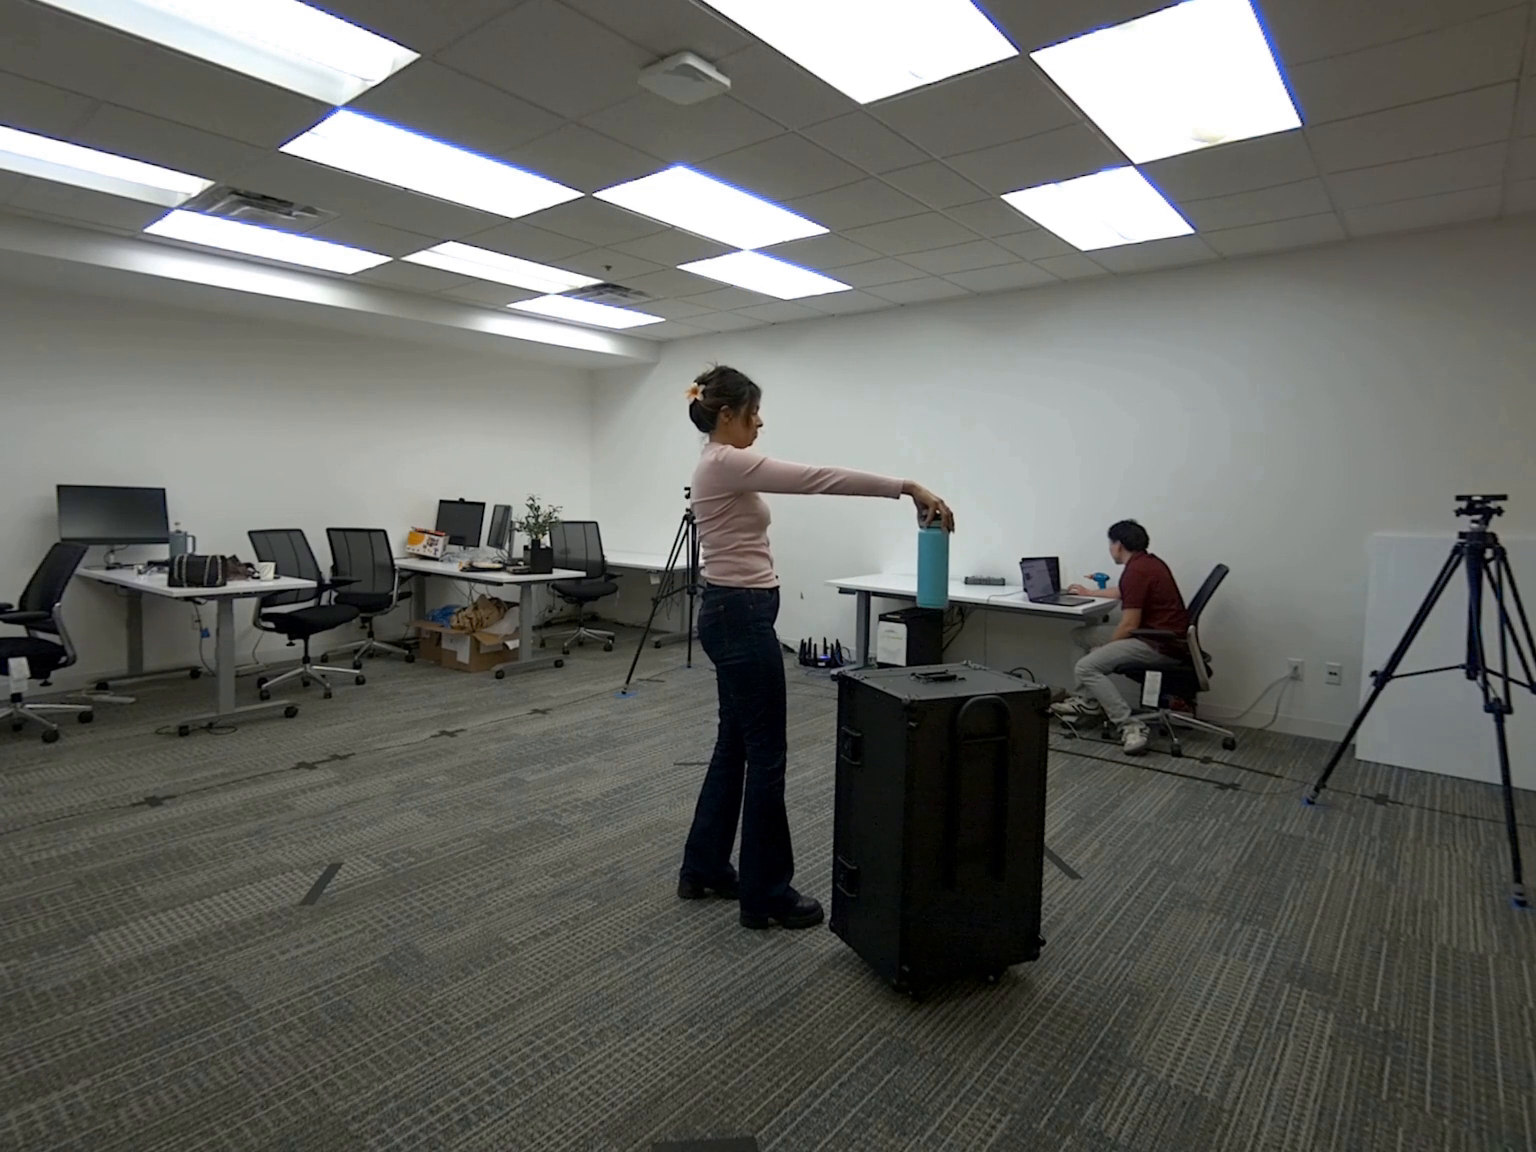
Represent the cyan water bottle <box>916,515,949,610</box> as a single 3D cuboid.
[{"bbox_3d":[0.476,-0.054,2.472,0.092,0.283,0.092,1,2,-2],"label":"cyan water bottle"}]
